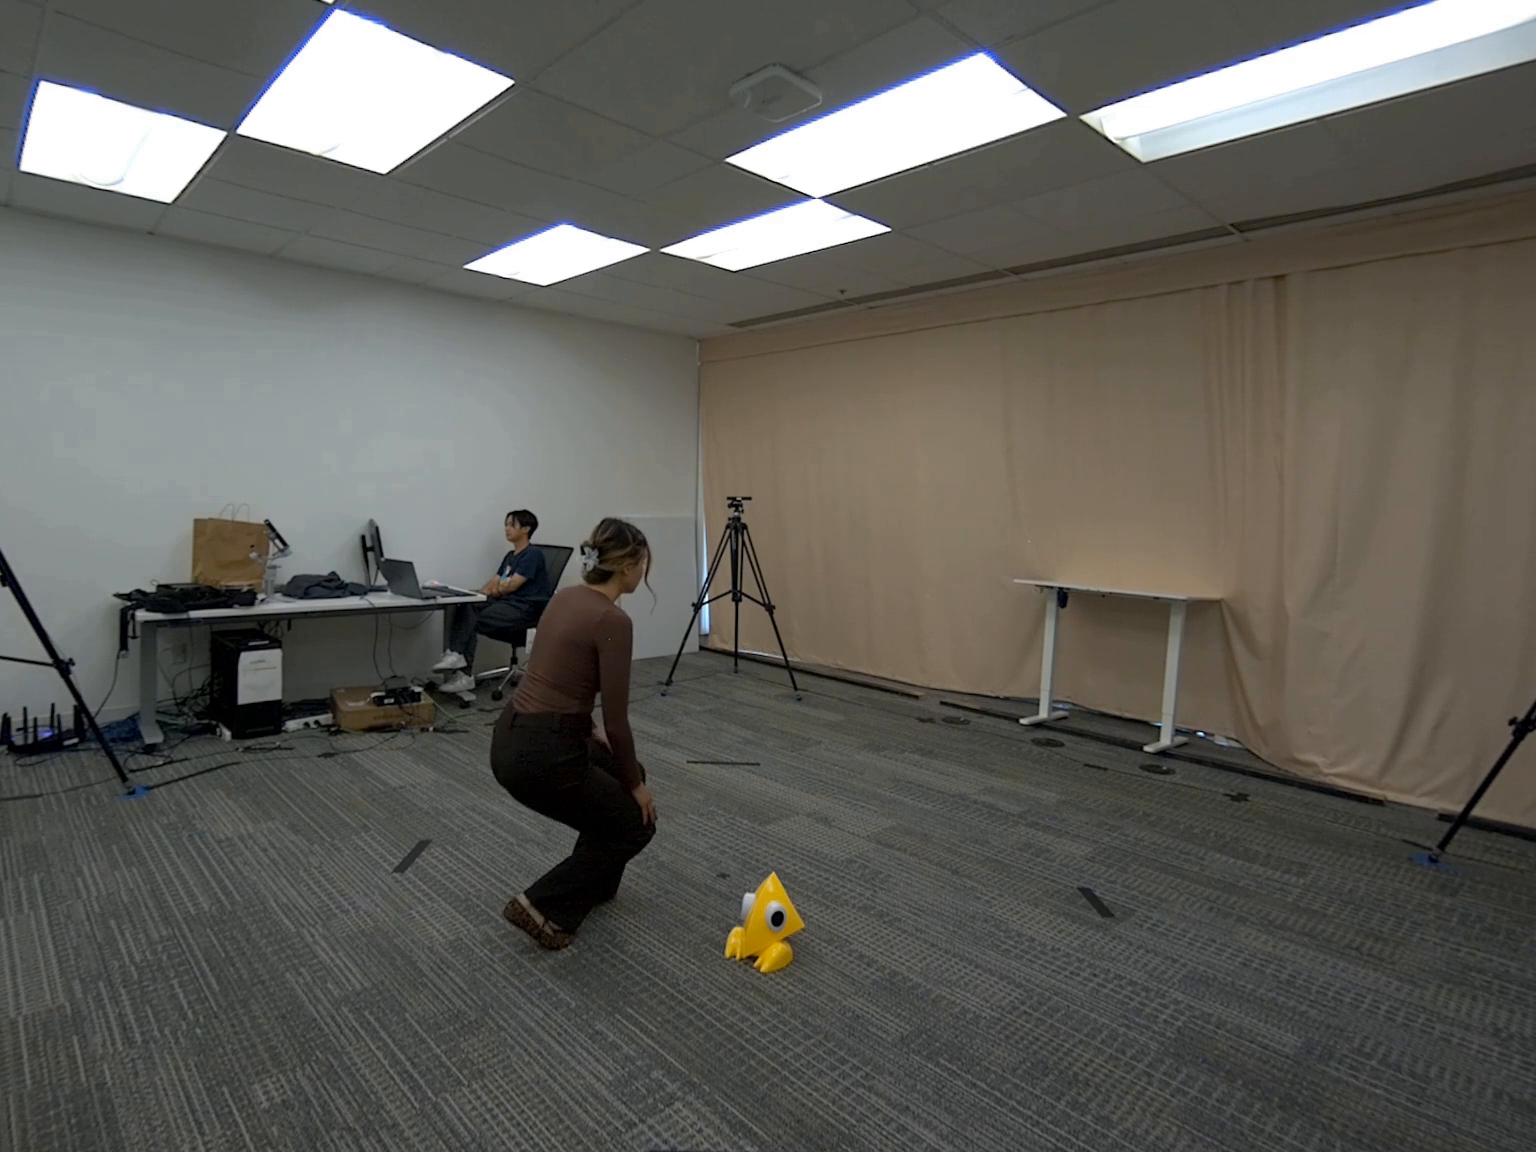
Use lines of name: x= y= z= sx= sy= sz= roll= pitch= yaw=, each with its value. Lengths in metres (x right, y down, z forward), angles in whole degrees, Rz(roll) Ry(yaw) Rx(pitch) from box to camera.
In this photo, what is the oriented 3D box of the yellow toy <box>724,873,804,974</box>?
yellow toy: x=-0.027 y=1.046 z=2.574 sx=0.210 sy=0.230 sz=0.189 roll=5 pitch=4 yaw=35
